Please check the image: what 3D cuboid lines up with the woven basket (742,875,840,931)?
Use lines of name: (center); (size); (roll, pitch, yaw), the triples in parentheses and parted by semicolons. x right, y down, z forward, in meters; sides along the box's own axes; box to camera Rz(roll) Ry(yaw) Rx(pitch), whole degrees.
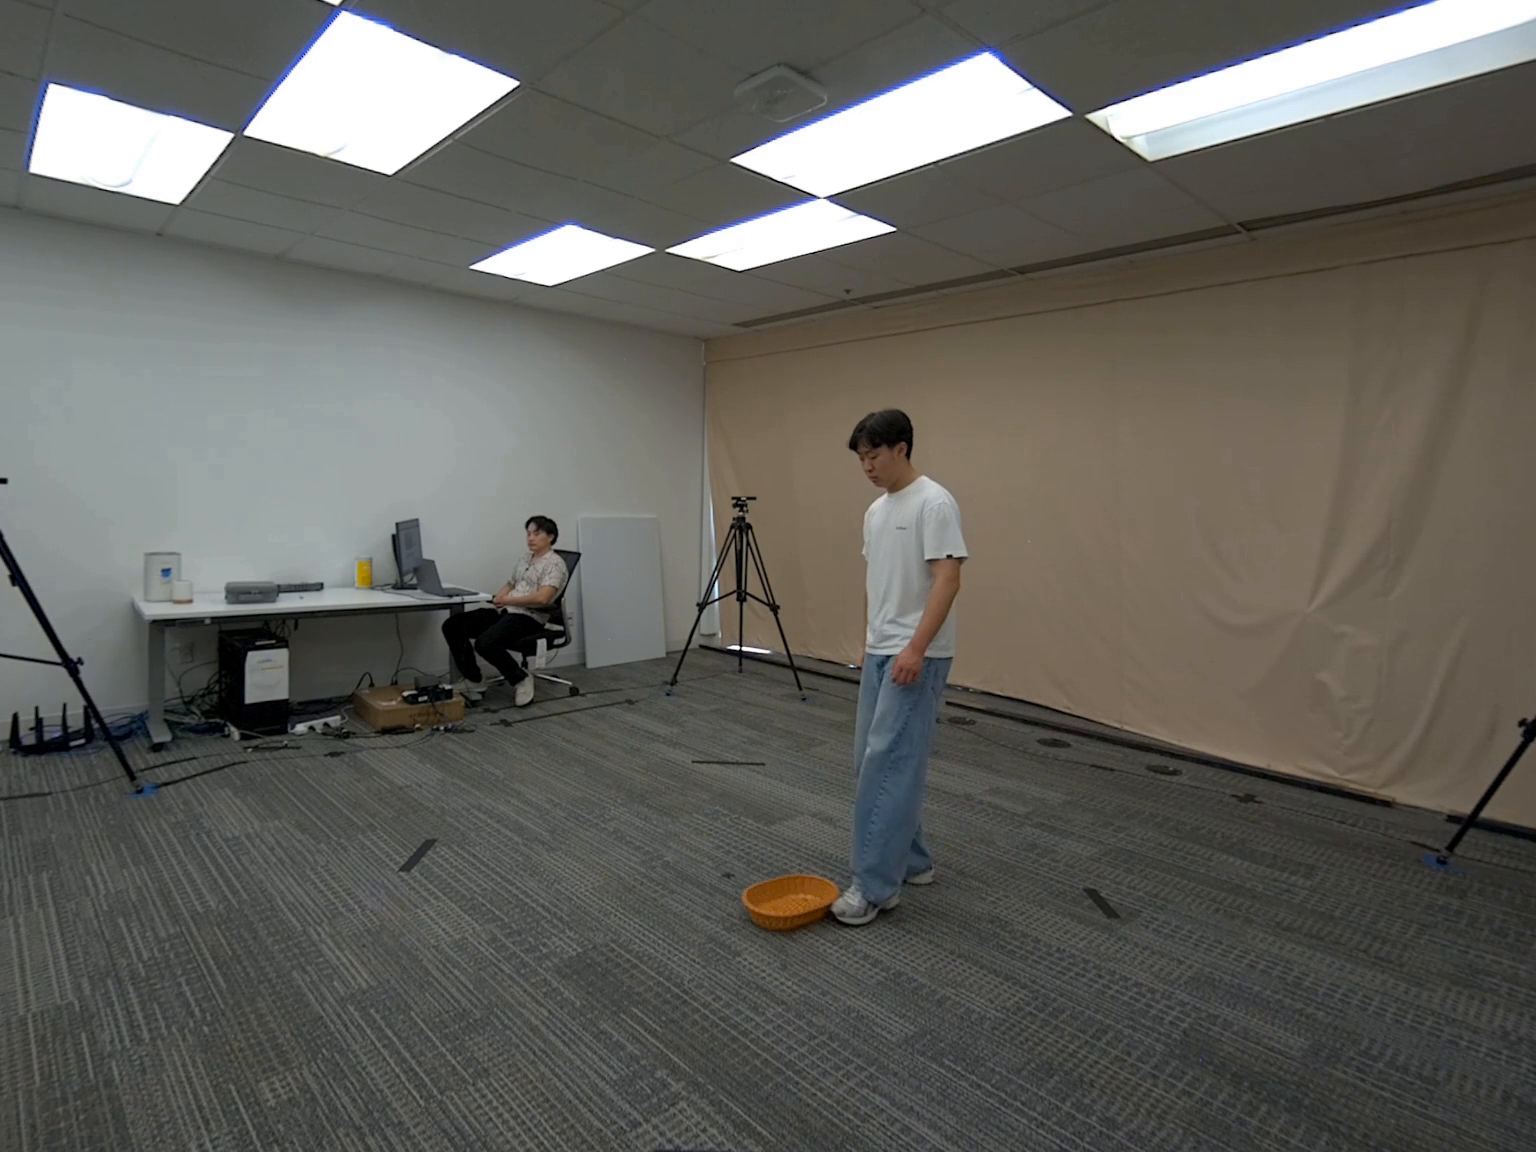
woven basket: (0.068, 1.090, 2.833); (0.343, 0.073, 0.258); (-2, 5, -30)
